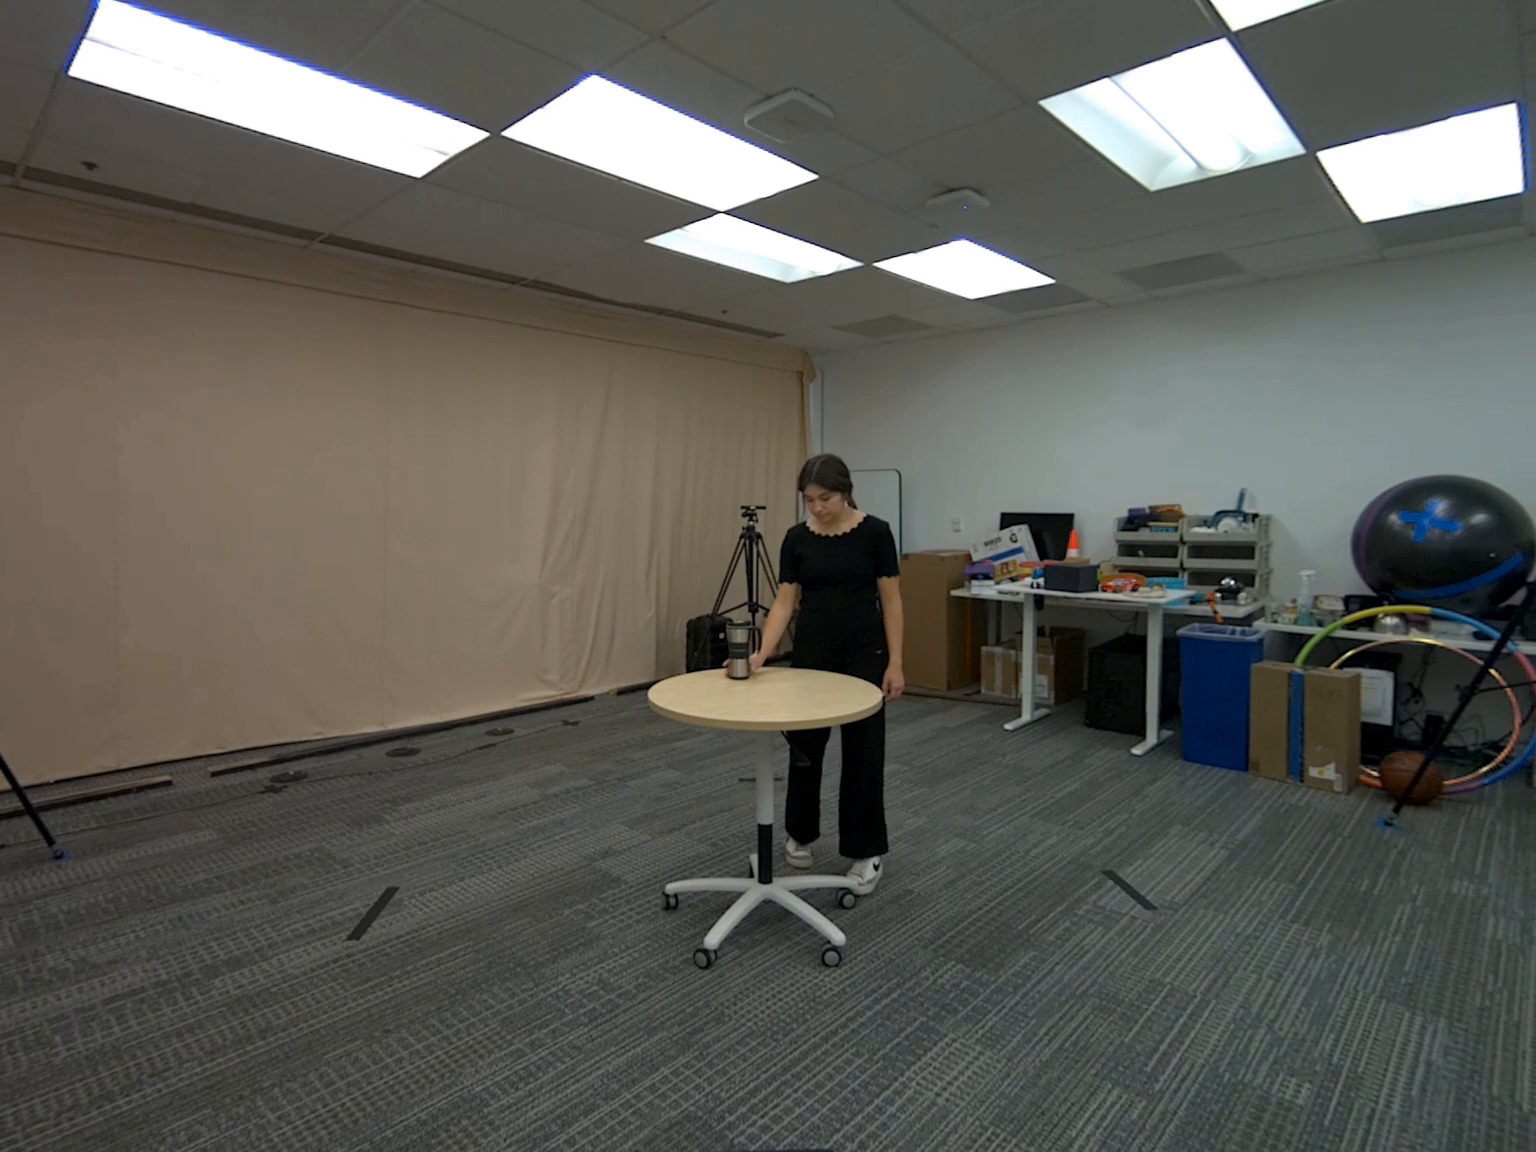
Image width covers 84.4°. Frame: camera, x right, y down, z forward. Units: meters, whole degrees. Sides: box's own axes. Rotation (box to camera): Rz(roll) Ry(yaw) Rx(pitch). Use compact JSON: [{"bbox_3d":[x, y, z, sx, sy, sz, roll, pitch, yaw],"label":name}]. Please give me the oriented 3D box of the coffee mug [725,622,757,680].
[{"bbox_3d":[-0.081,0.261,2.948,0.125,0.203,0.085,-2,-2,32],"label":"coffee mug"}]
